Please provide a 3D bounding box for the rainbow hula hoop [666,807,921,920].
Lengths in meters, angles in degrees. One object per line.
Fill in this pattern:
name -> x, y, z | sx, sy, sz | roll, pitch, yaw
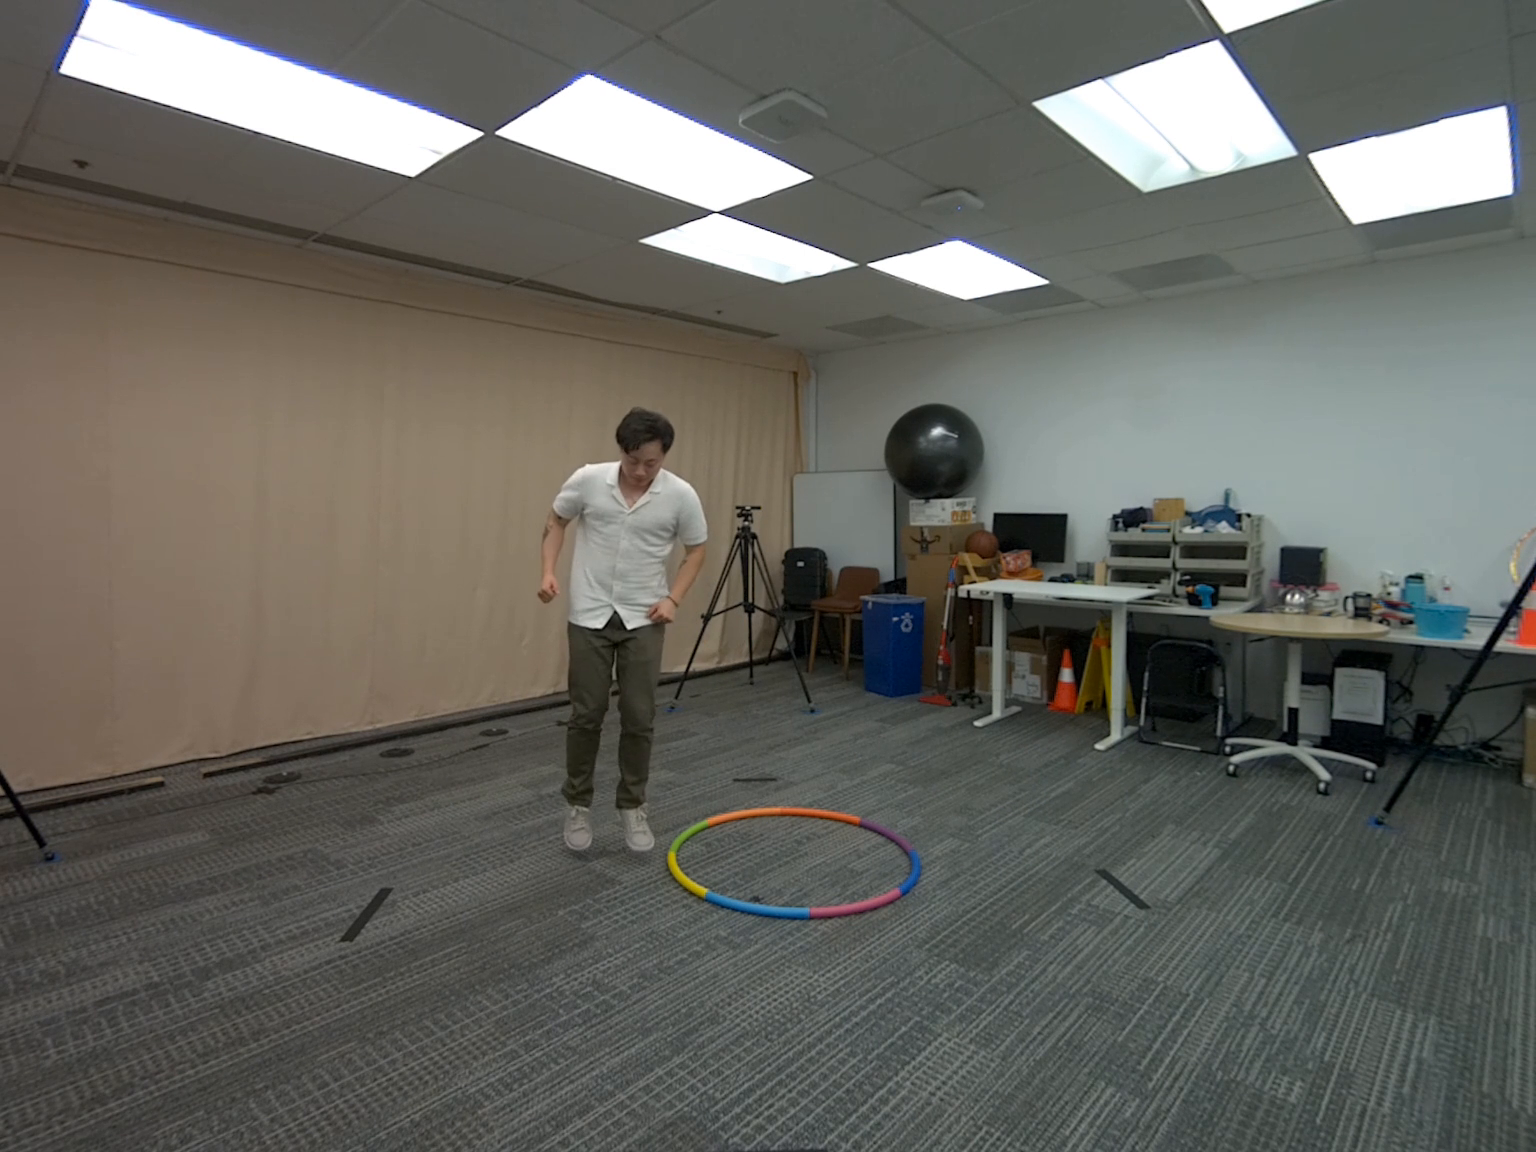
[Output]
rainbow hula hoop -> 0.096, 1.085, 3.316 | 0.978, 0.035, 0.982 | 0, 5, -2
